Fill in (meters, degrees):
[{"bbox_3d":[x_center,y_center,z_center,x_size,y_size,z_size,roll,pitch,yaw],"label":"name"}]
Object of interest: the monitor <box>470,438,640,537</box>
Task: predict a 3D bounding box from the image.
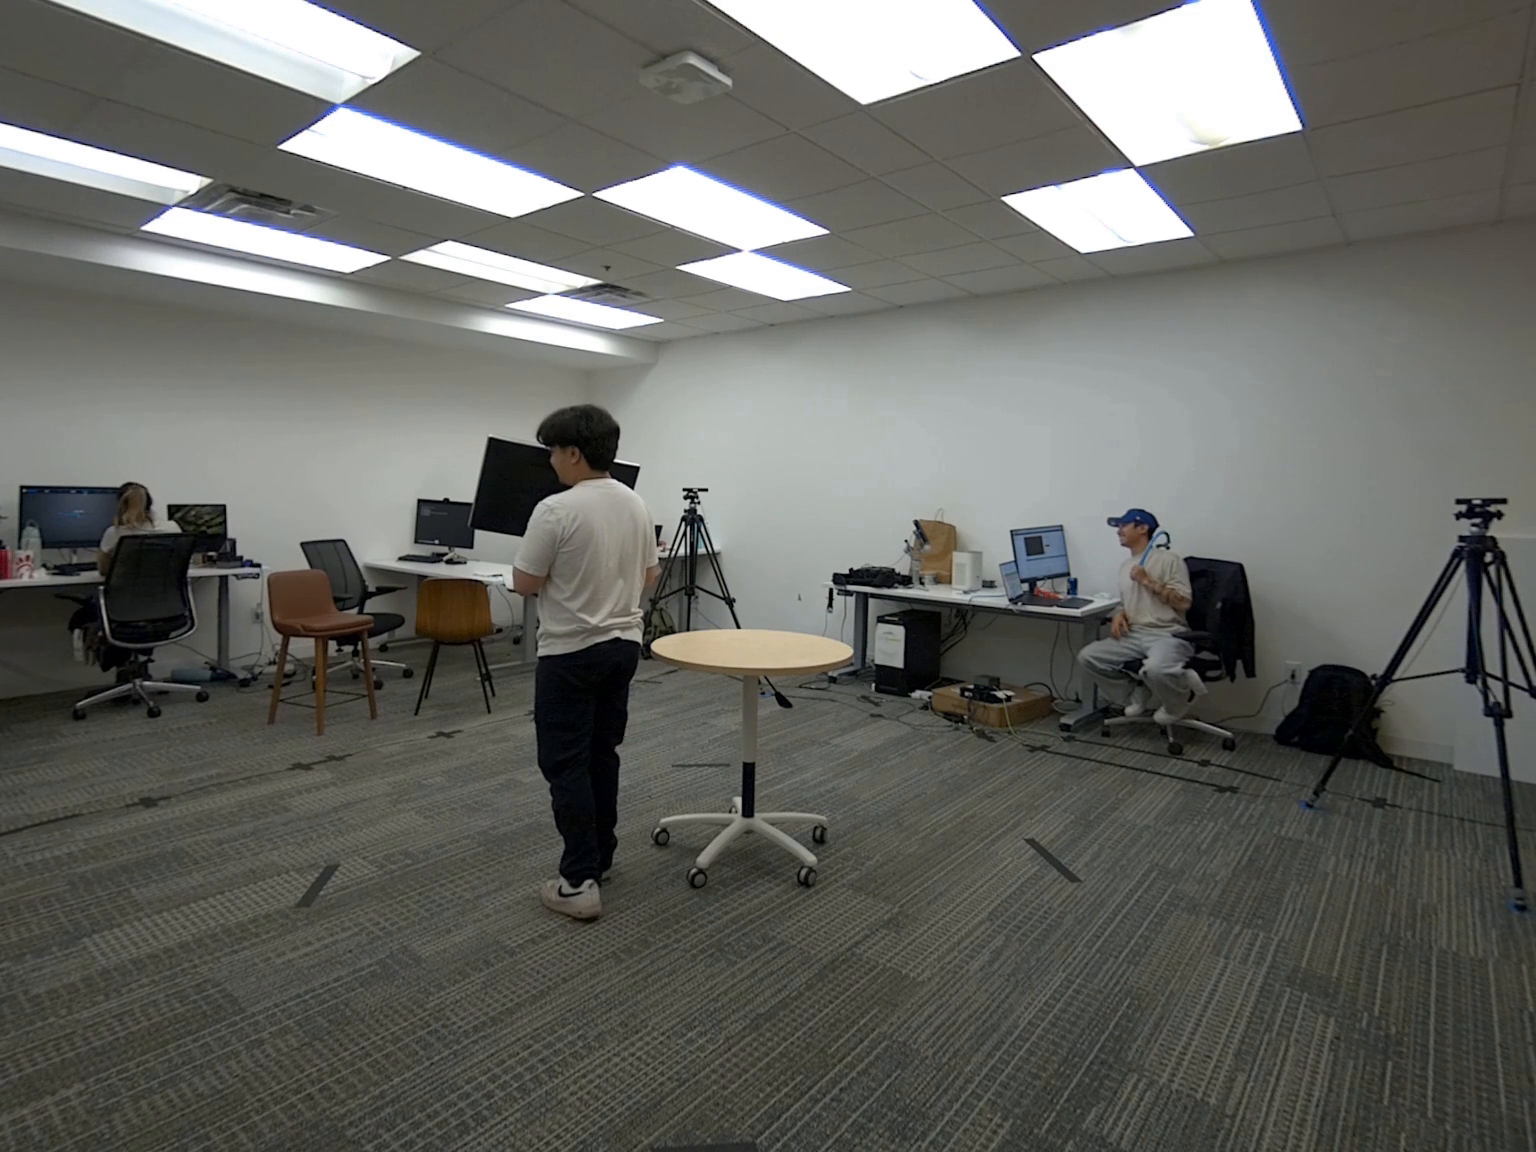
[{"bbox_3d":[-0.789,-0.190,3.071,0.551,0.549,0.218,11,17,-23],"label":"monitor"}]
